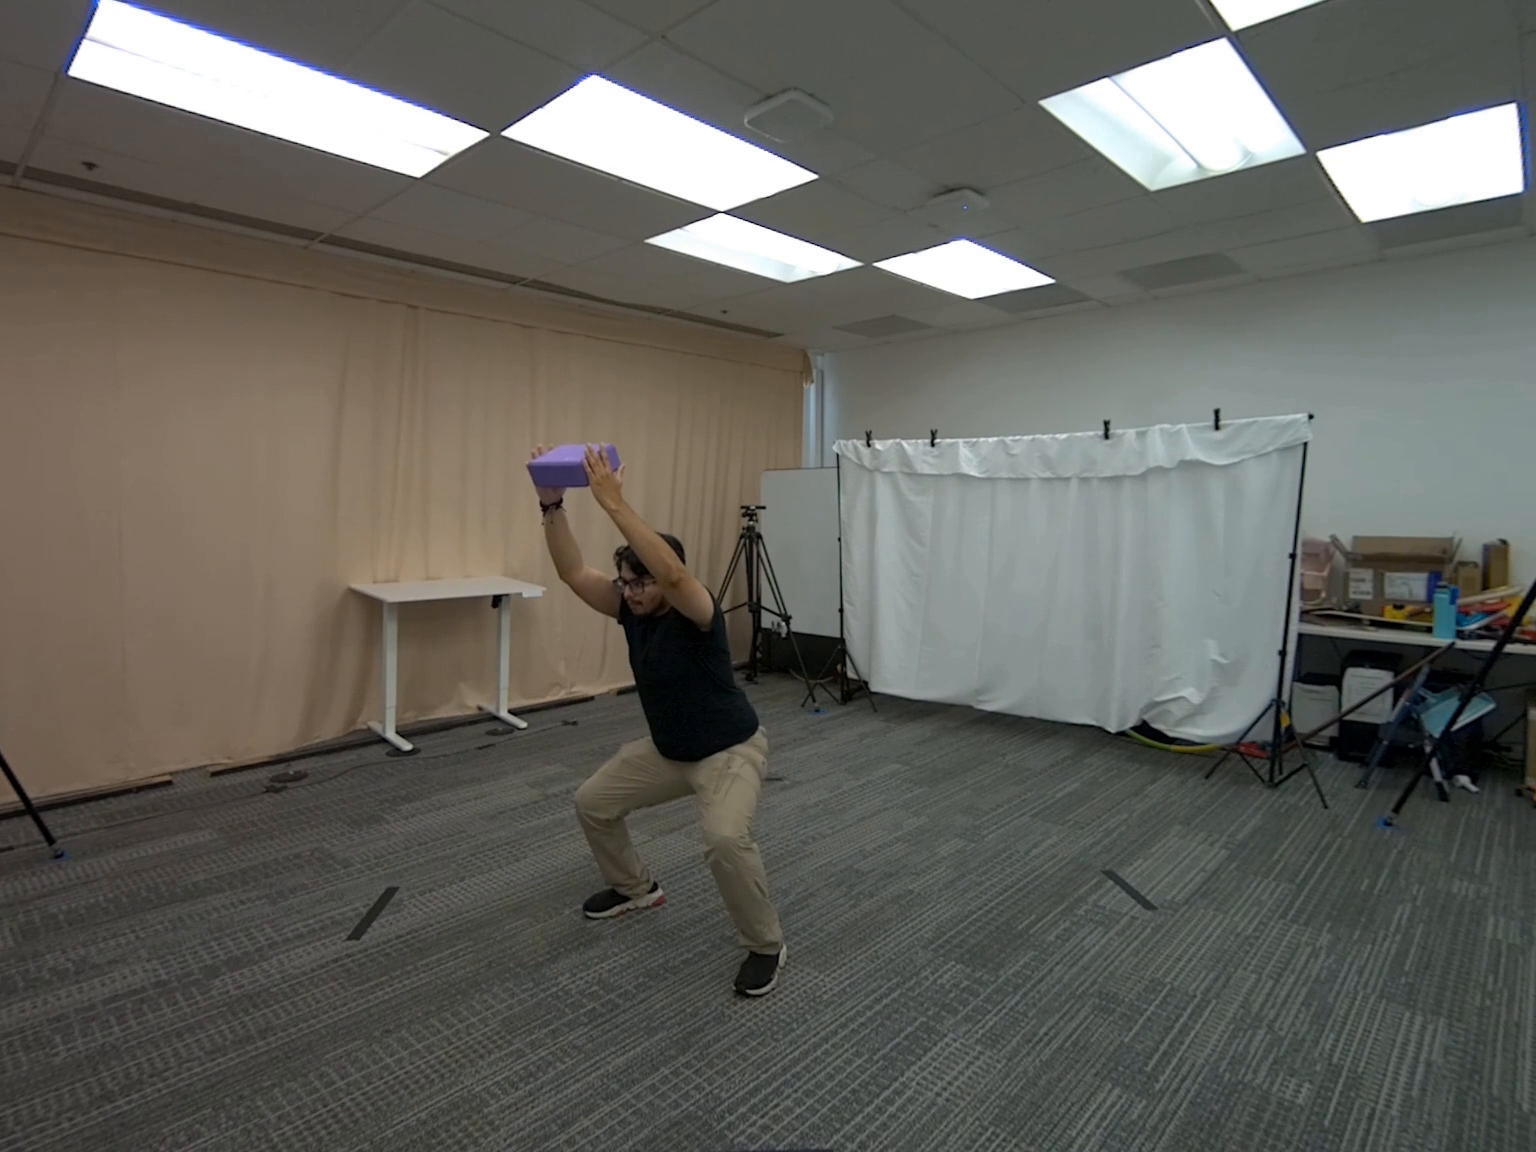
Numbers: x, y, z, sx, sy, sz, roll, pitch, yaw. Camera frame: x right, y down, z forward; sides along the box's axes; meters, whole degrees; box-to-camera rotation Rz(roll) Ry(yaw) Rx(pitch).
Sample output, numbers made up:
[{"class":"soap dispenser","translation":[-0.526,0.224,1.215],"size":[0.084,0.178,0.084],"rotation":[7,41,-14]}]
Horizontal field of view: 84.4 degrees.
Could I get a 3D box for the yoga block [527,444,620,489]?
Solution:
[{"class":"yoga block","translation":[-0.537,-0.312,2.338],"size":[0.237,0.075,0.147],"rotation":[6,33,39]}]
